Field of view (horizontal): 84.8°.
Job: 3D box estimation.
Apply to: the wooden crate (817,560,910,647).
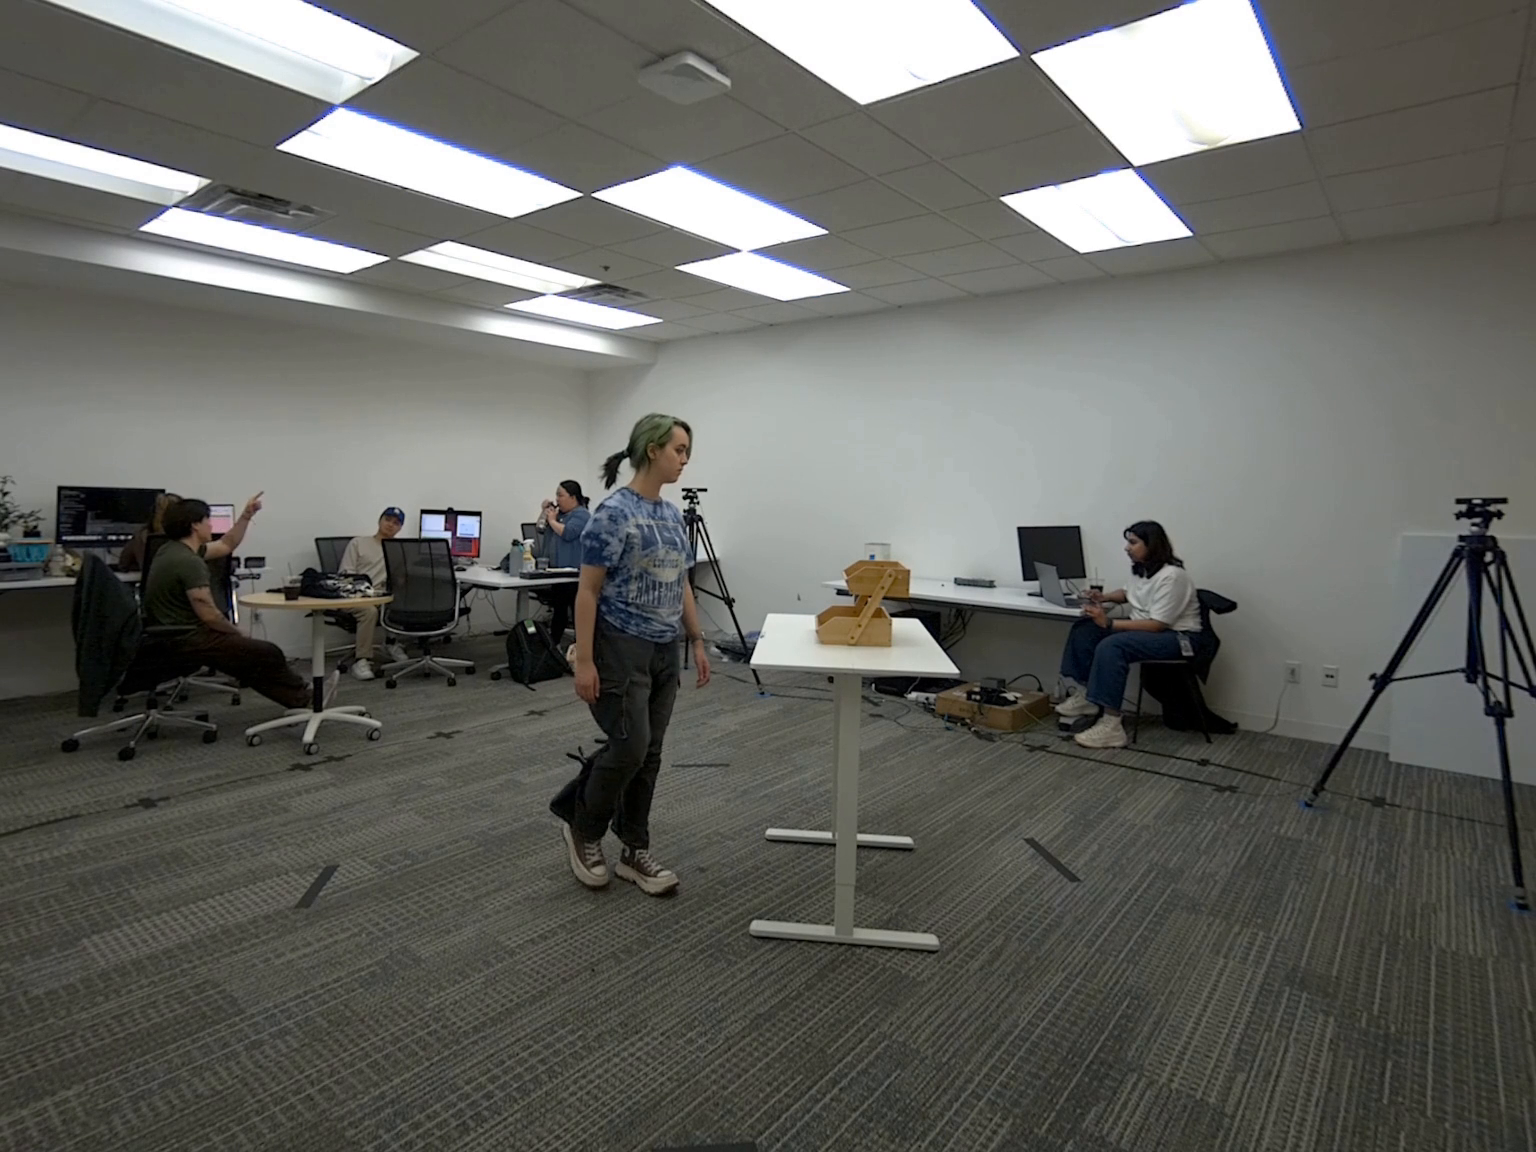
[{"bbox_3d":[0.312,0.084,2.944,0.304,0.272,0.324,3,5,3],"label":"wooden crate"}]
